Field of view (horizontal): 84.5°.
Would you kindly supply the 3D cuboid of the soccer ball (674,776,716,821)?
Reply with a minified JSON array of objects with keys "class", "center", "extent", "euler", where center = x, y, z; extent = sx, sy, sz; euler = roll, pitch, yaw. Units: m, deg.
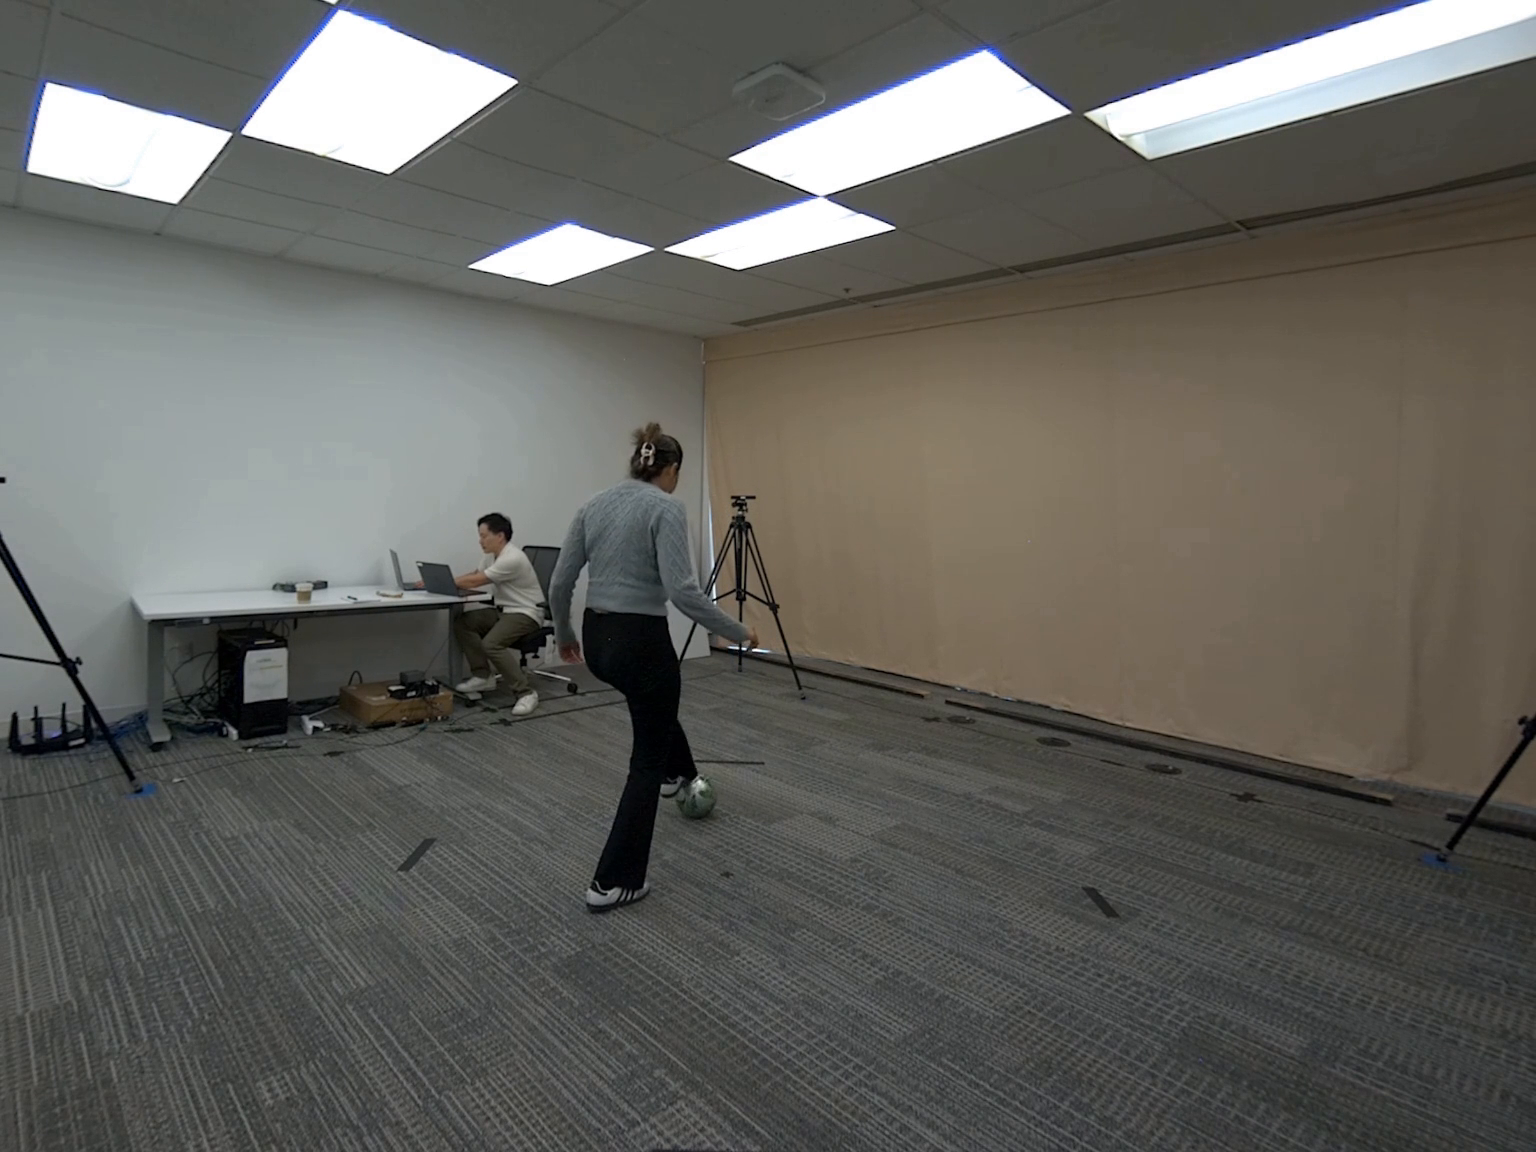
[{"class":"soccer ball","center":[-0.326,0.957,3.638],"extent":[0.187,0.187,0.188],"euler":[1,4,-1]}]
